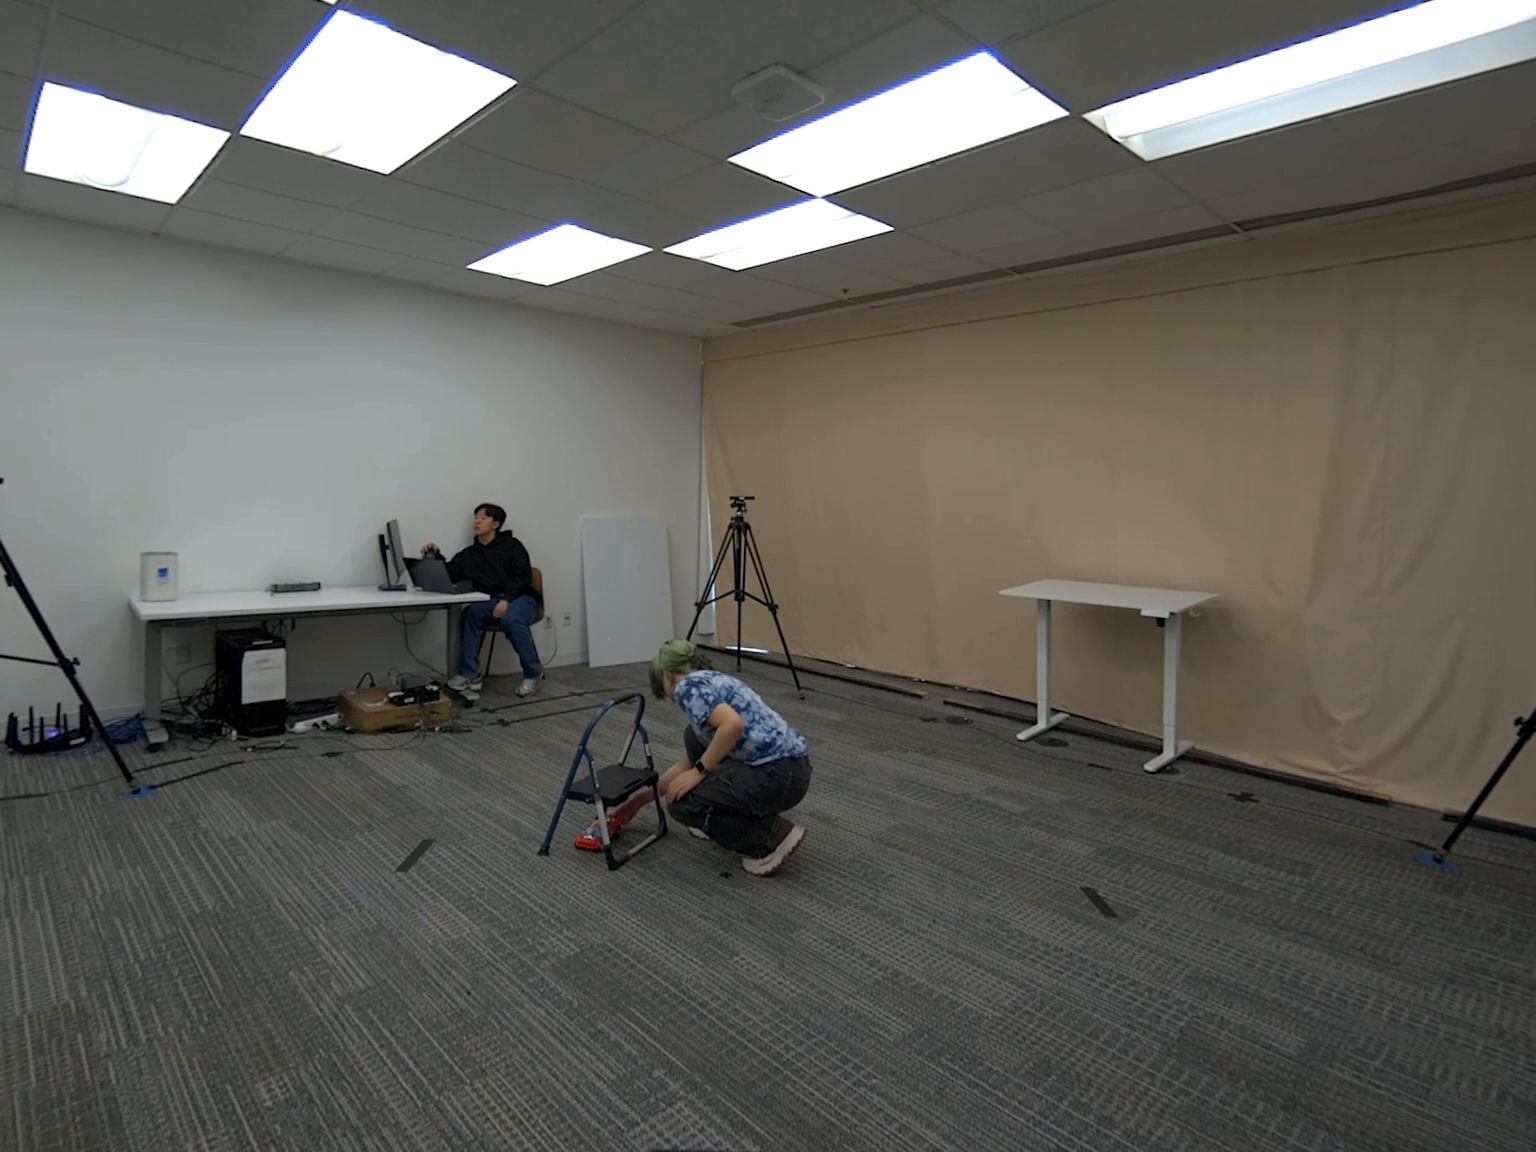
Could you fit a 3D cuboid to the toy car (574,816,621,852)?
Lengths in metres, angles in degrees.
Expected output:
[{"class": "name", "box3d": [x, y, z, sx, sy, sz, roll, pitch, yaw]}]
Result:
[{"class": "toy car", "box3d": [-0.675, 1.029, 3.397, 0.132, 0.082, 0.254, -1, 16, 15]}]
